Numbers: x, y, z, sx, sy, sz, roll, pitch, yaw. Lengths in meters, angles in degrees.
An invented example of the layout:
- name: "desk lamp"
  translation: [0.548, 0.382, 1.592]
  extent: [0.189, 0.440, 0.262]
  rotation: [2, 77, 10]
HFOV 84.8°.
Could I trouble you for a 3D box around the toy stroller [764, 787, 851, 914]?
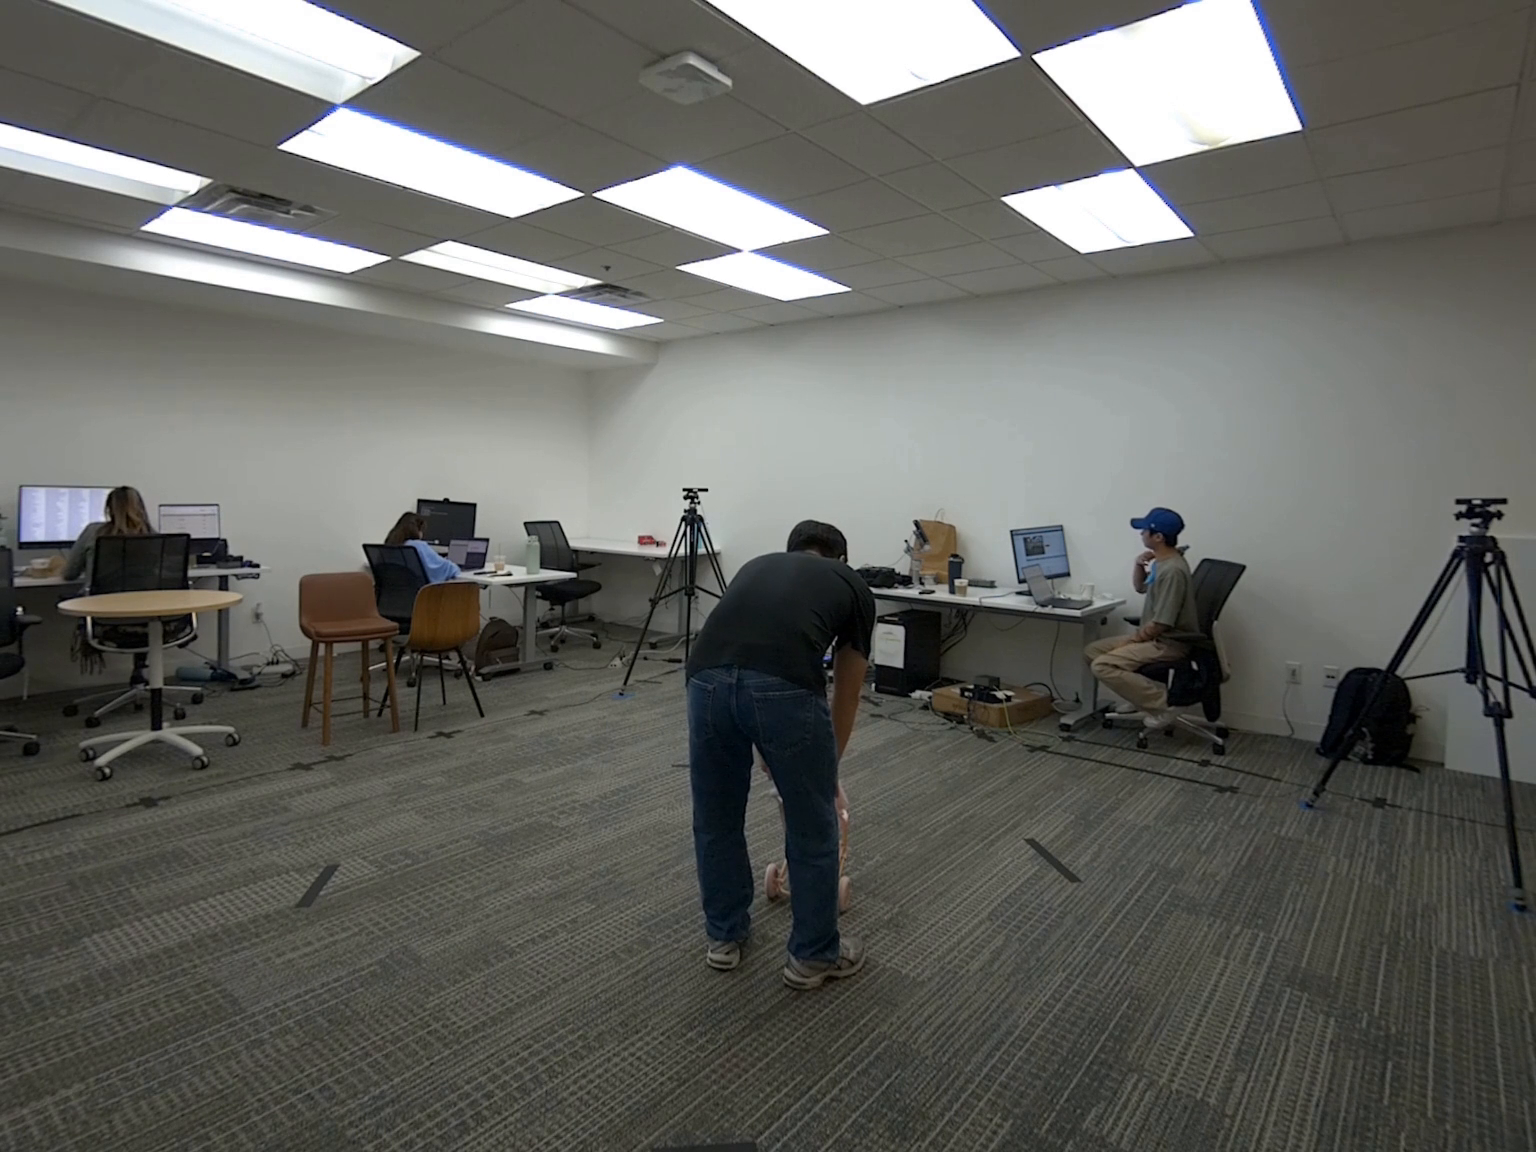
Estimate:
- name: "toy stroller"
  translation: [0.153, 0.868, 2.915]
  extent: [0.288, 0.525, 0.339]
  rotation: [4, 20, 22]
